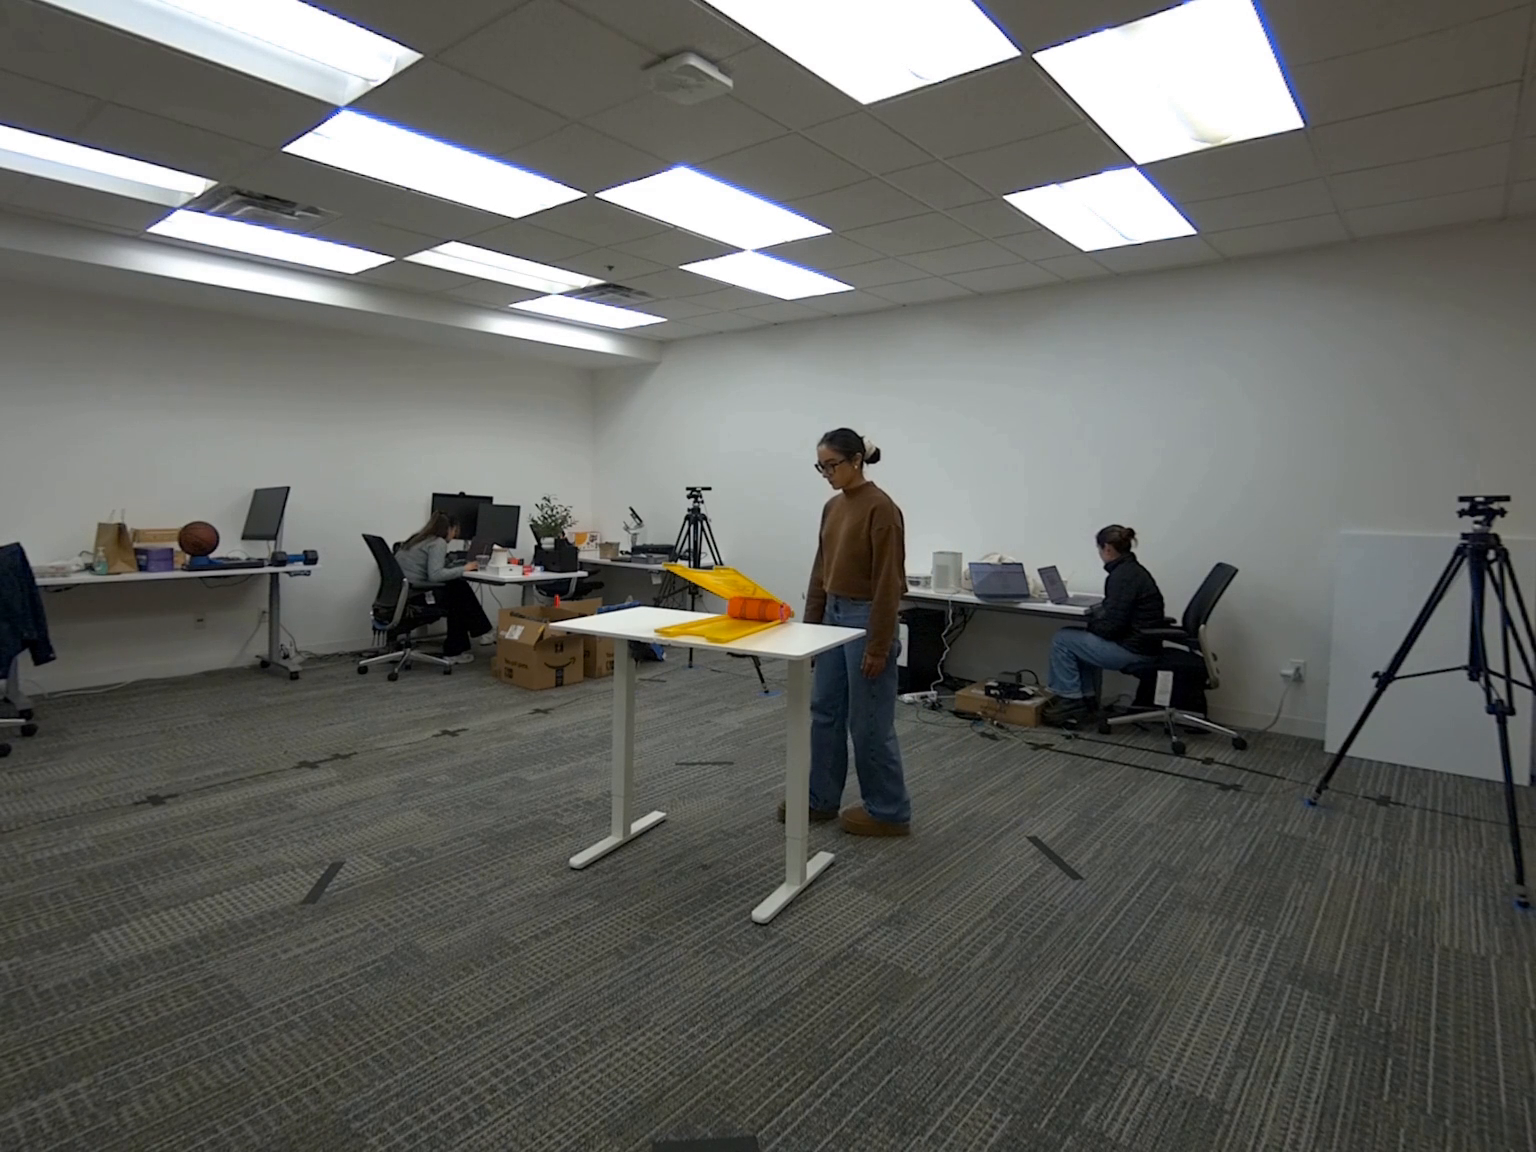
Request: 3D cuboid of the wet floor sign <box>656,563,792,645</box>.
[{"bbox_3d":[-0.131,0.115,3.130,0.290,0.291,0.627,3,-3,26],"label":"wet floor sign"}]
